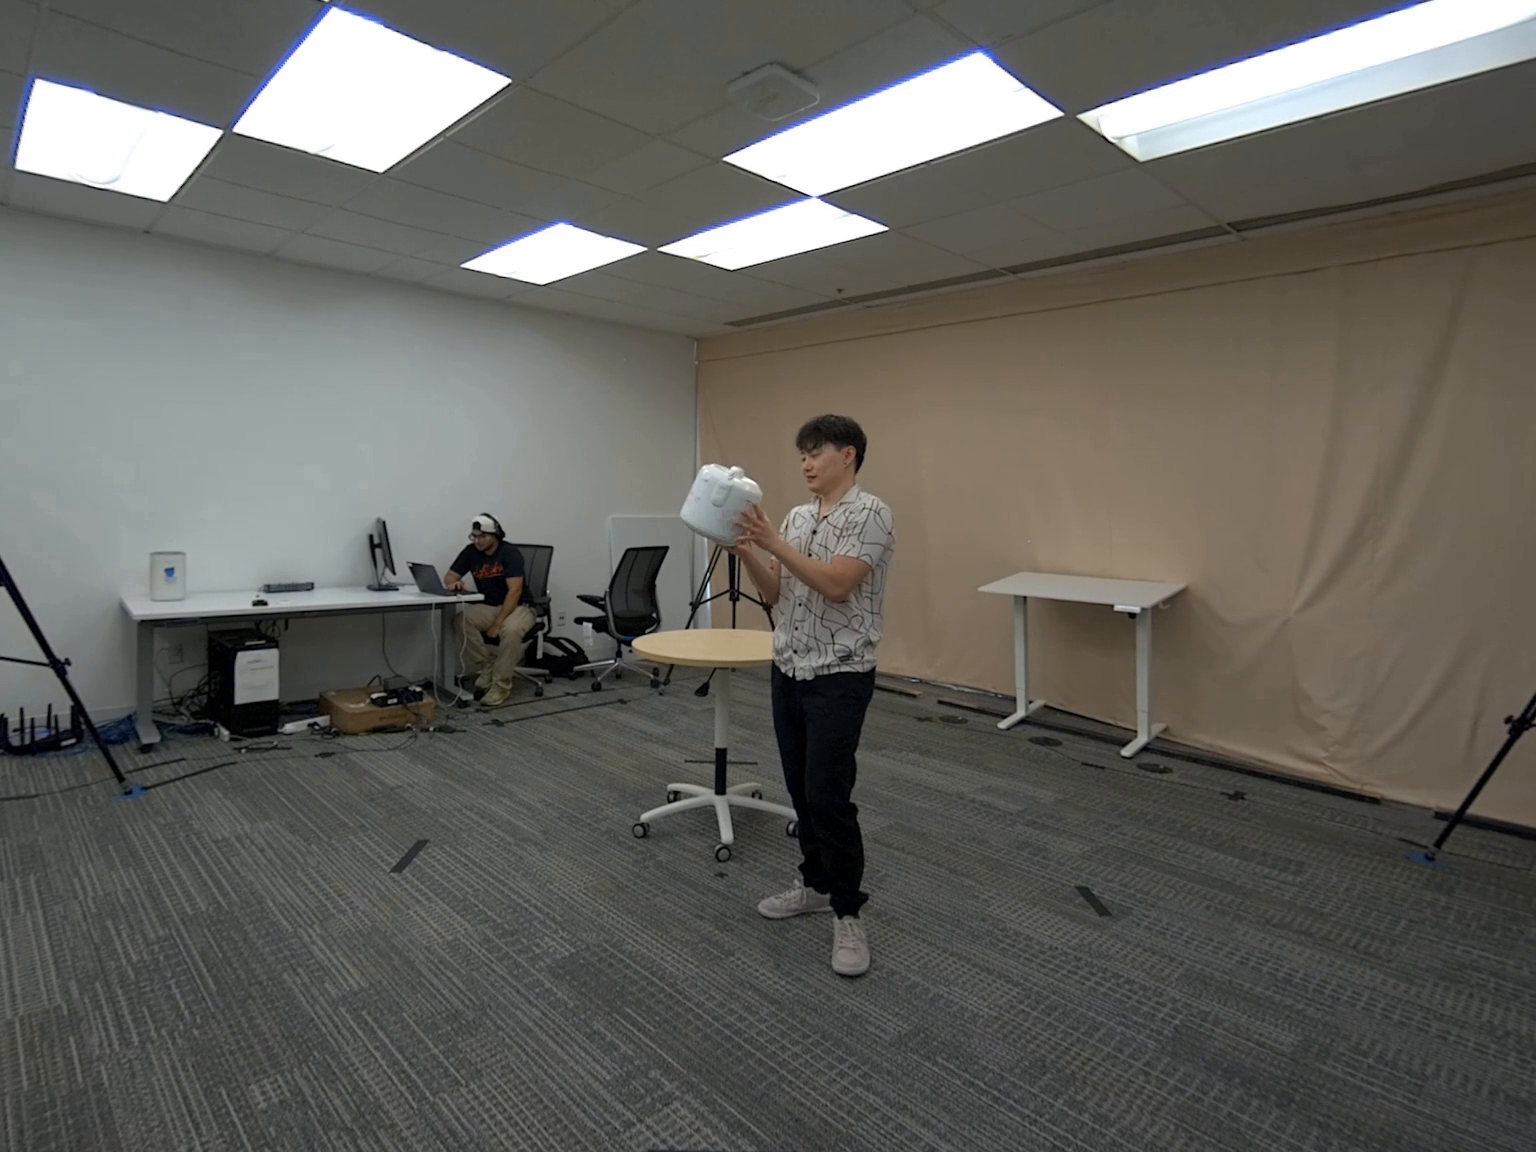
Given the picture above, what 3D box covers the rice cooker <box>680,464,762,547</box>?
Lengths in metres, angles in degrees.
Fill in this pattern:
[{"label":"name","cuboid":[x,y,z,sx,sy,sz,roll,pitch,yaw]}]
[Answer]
[{"label":"rice cooker","cuboid":[-0.134,-0.231,2.608,0.219,0.232,0.220,26,11,6]}]
